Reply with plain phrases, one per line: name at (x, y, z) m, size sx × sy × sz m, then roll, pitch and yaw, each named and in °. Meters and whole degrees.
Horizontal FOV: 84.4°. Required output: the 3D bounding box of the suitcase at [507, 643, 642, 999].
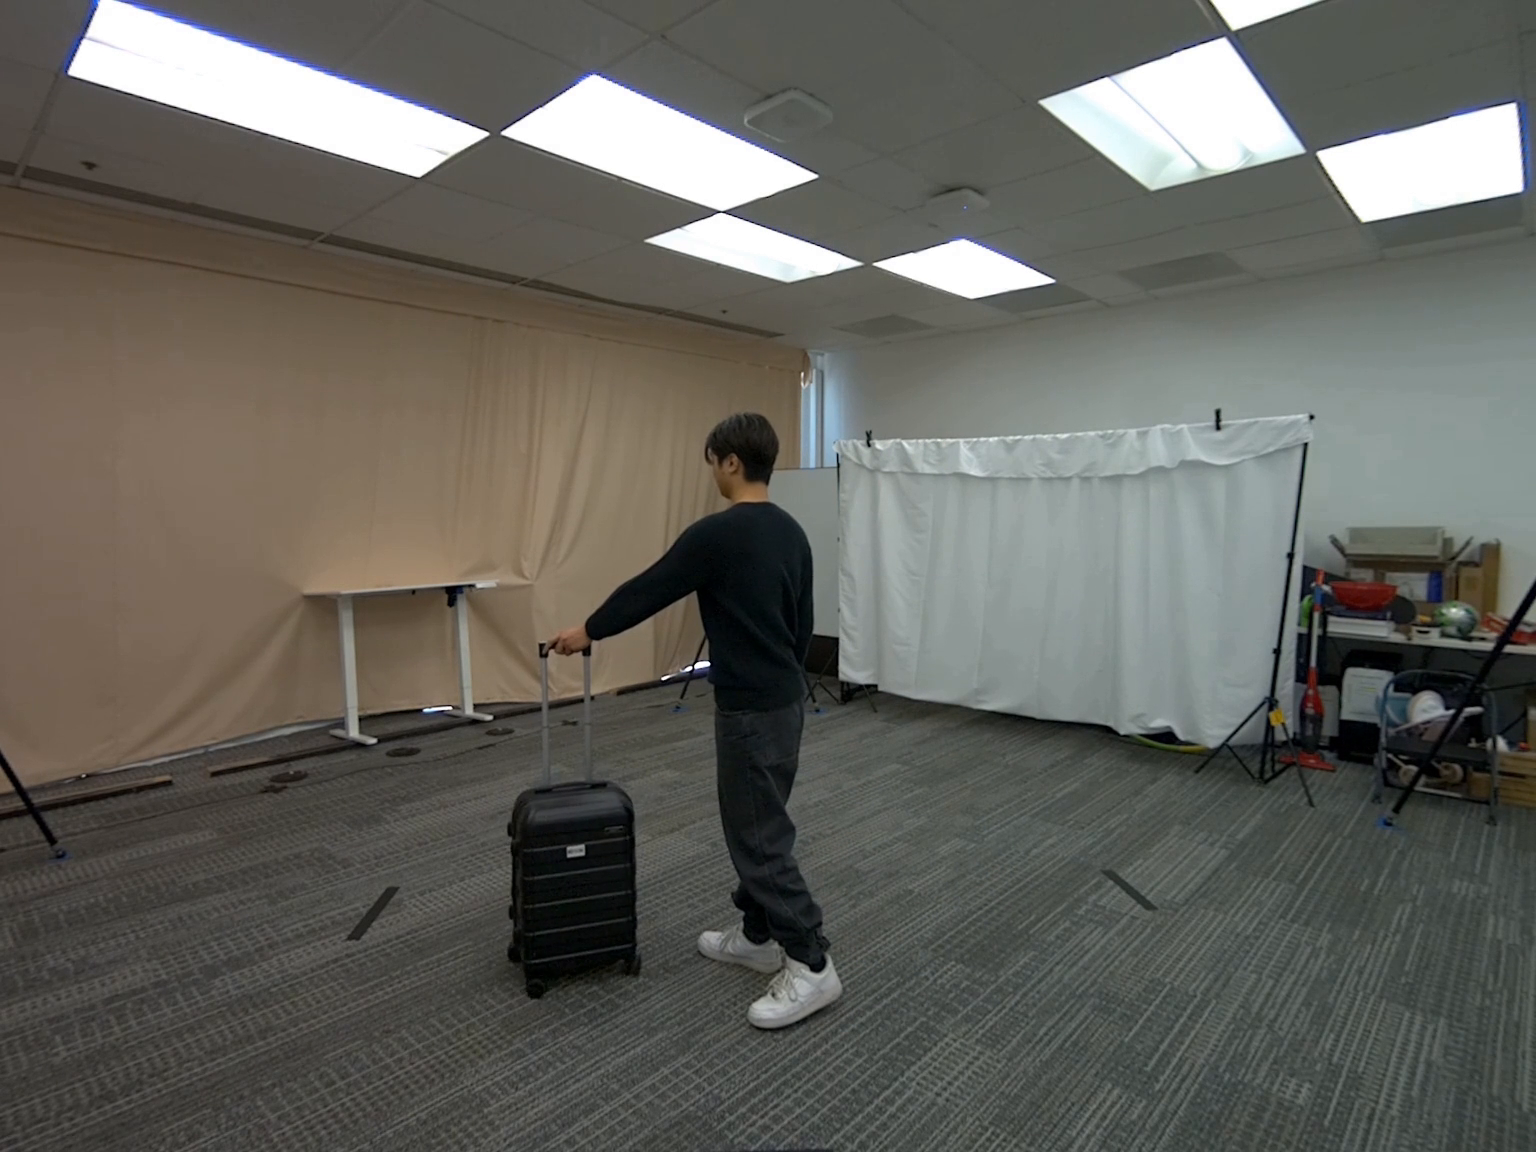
suitcase at (-0.583, 0.712, 2.517) m, size 0.377 × 0.975 × 0.262 m, roll -2°, pitch 6°, yaw -17°
